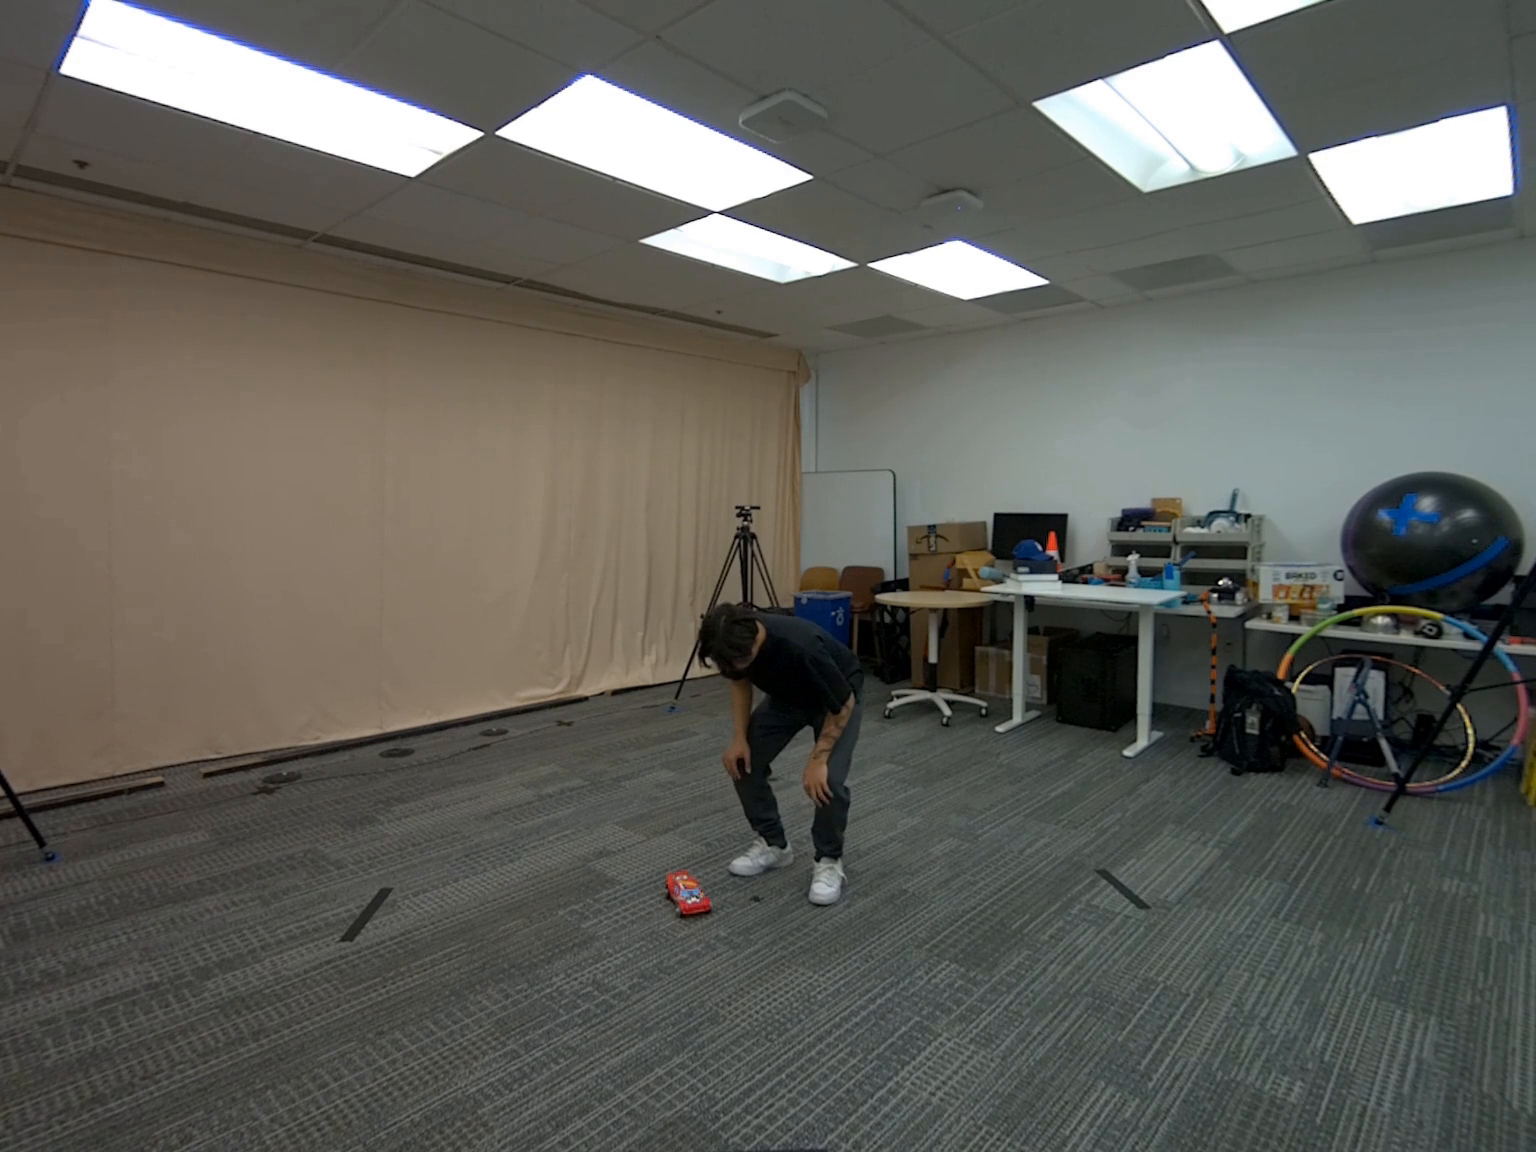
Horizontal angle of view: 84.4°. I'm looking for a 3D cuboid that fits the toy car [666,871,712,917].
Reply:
[{"bbox_3d":[-0.288,1.122,2.959,0.128,0.082,0.261,-2,15,-21],"label":"toy car"}]
